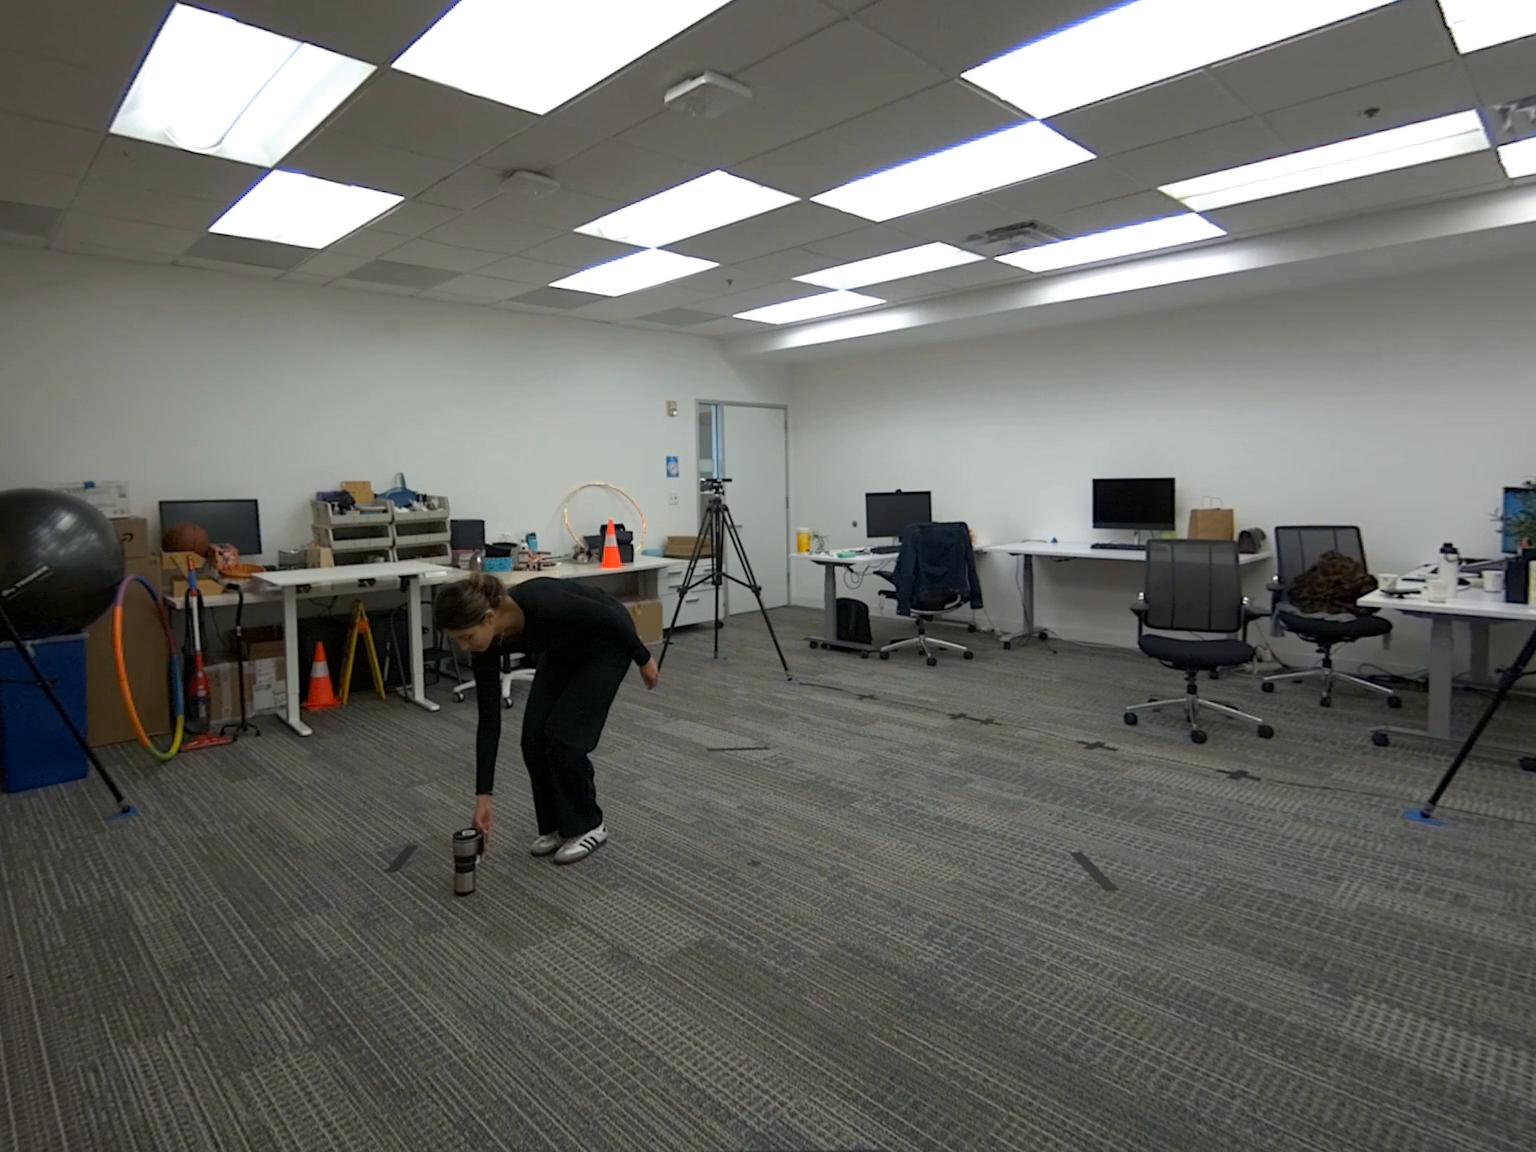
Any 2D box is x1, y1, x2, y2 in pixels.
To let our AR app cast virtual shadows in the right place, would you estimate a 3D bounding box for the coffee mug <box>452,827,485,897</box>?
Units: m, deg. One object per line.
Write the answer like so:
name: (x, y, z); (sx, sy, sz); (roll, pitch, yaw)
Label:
coffee mug: (-1.032, 0.984, 2.947); (0.119, 0.203, 0.090); (-6, -1, -38)
